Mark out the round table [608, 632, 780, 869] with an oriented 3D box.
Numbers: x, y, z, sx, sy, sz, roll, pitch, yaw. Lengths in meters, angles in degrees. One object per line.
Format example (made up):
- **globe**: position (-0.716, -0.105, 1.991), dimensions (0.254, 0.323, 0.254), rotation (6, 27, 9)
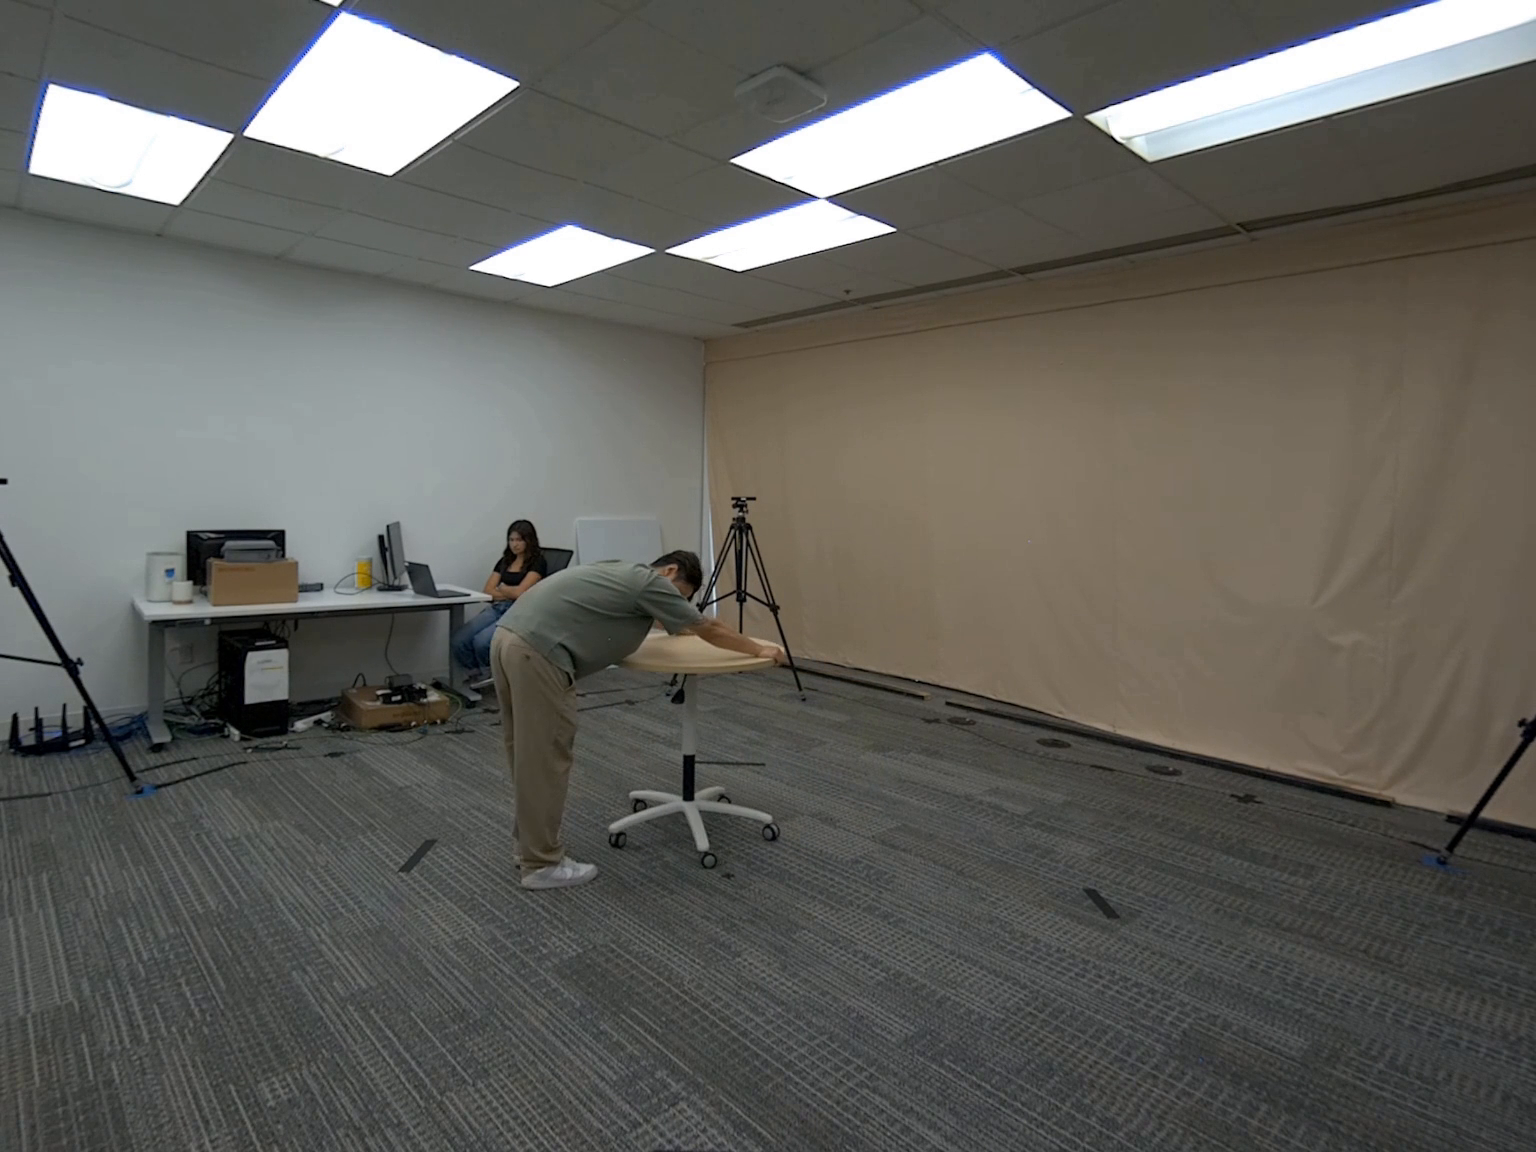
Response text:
- **round table**: position (-0.335, 0.677, 3.495), dimensions (0.784, 0.785, 0.787), rotation (2, 4, -1)
